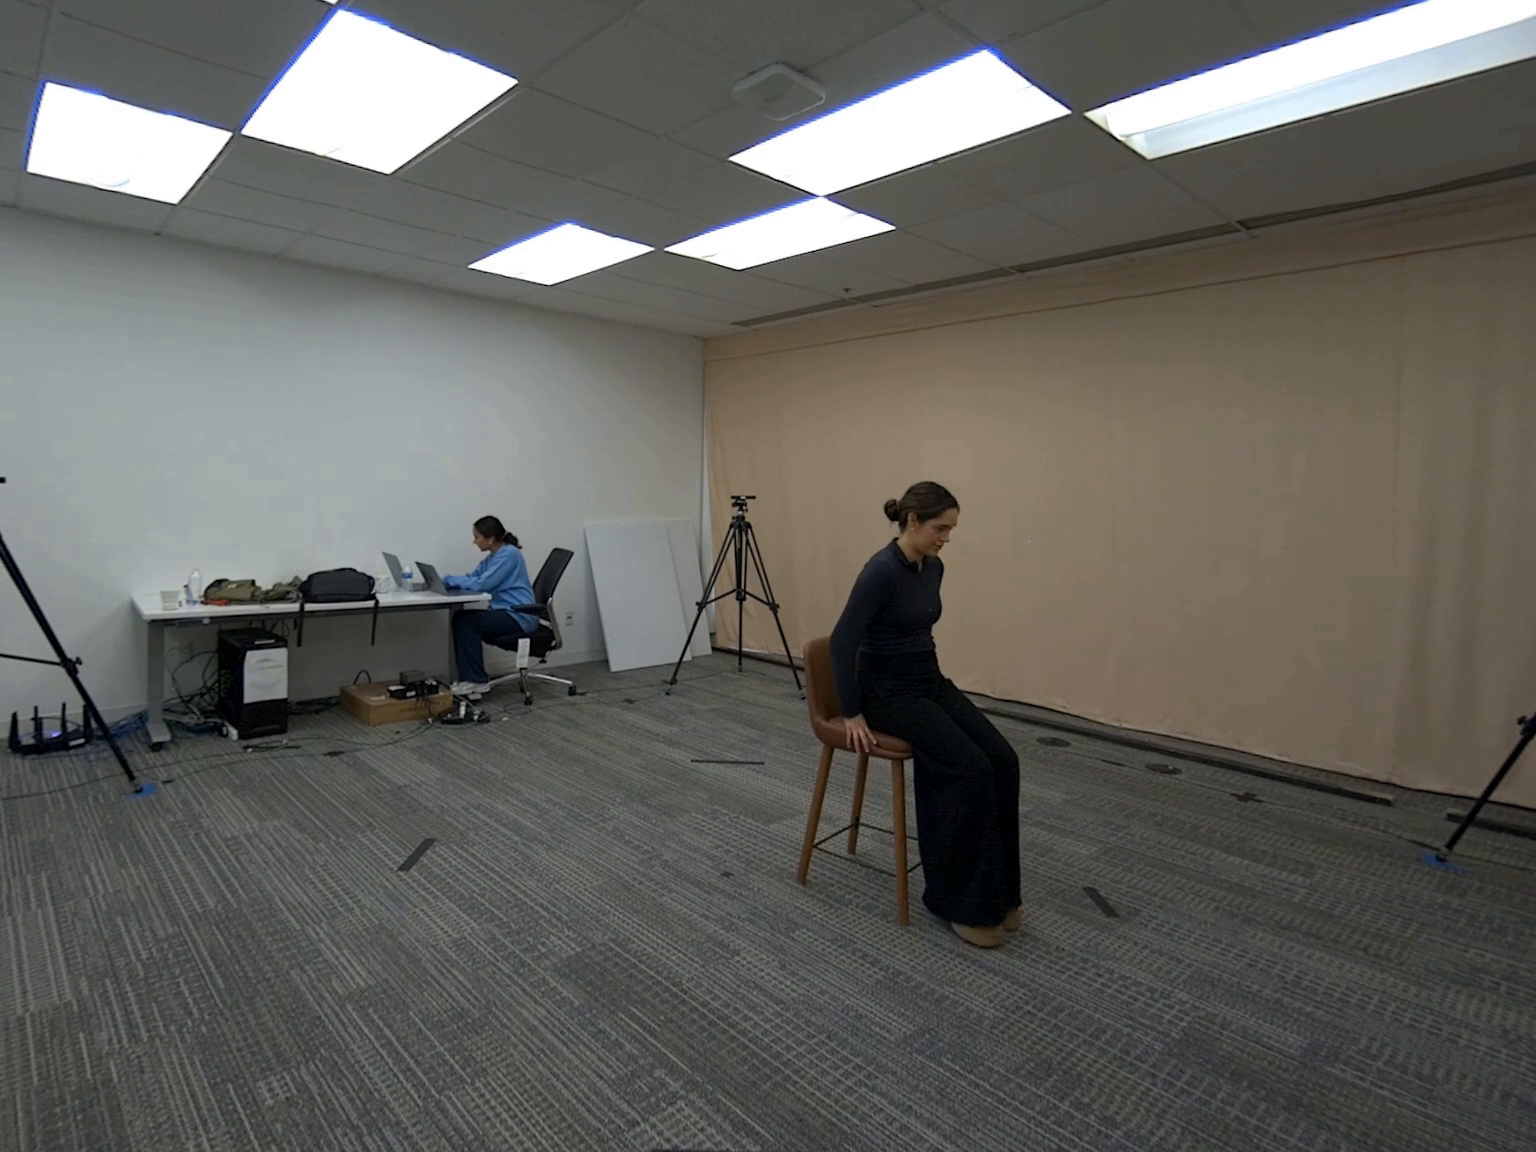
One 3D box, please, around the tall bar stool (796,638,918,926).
[{"bbox_3d":[0.392,0.687,3.035,0.479,0.888,0.446,2,3,39],"label":"tall bar stool"}]
